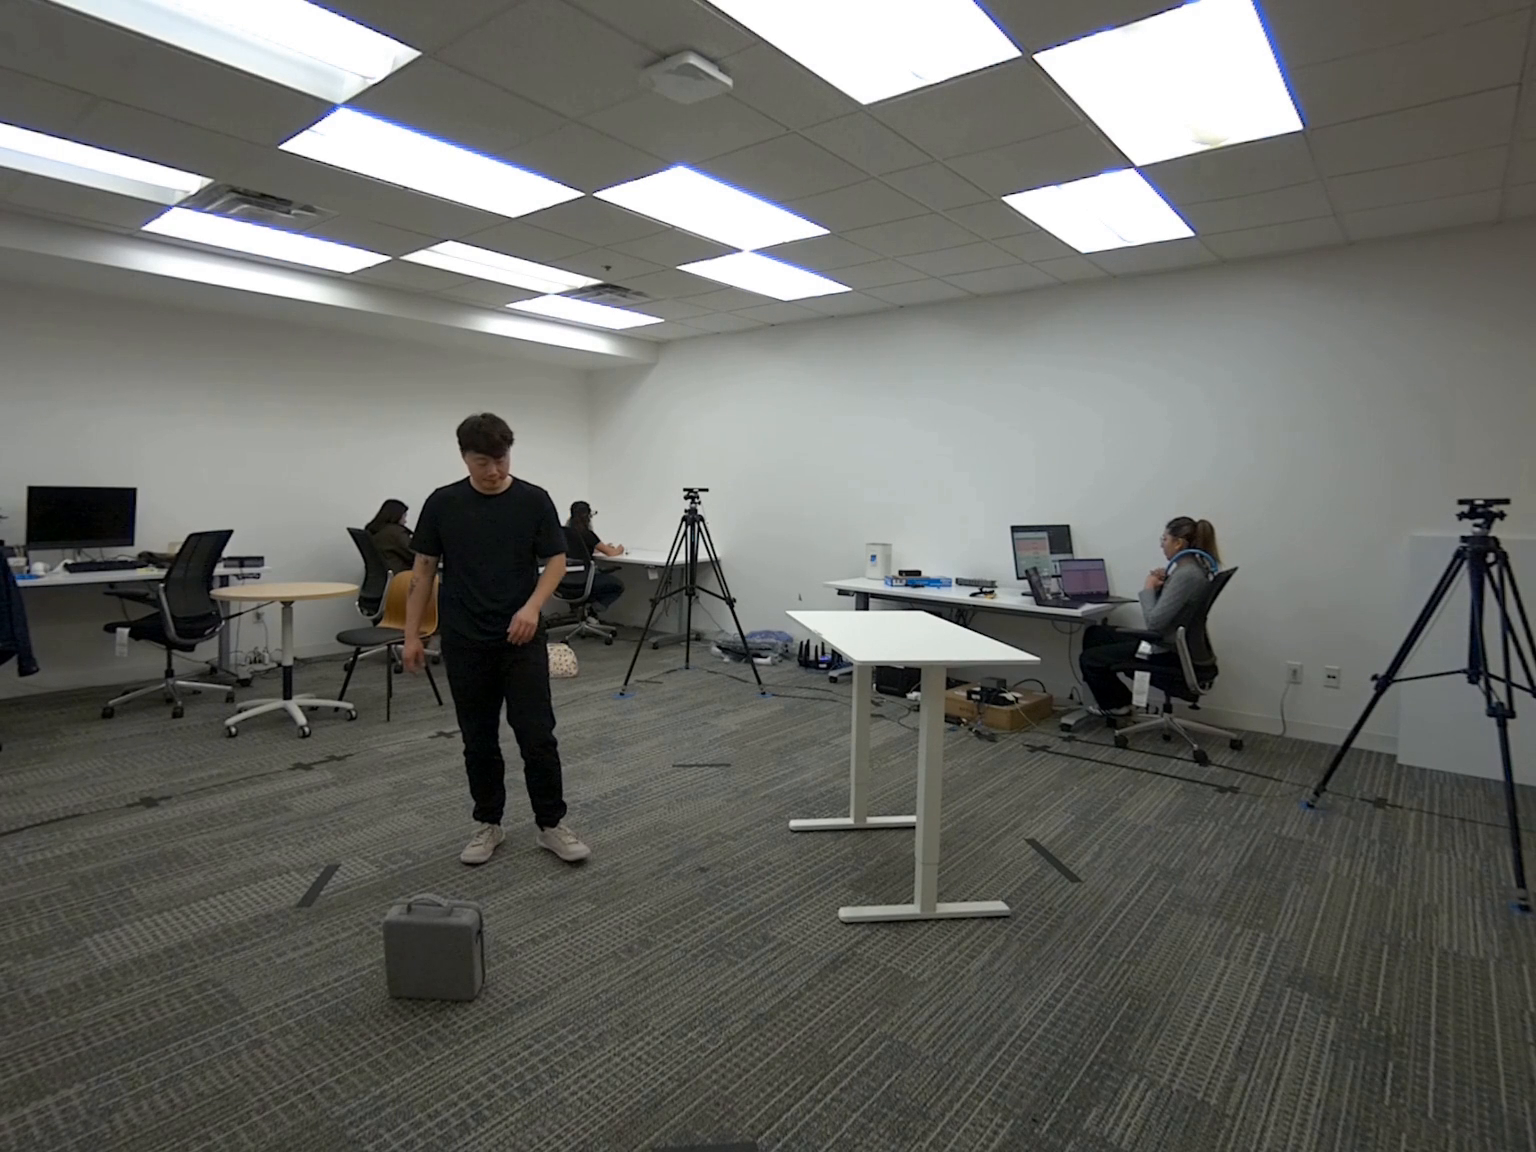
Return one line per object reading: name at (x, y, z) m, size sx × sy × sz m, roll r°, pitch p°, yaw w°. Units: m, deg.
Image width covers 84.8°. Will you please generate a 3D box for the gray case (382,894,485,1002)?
gray case at (-0.914, 1.005, 2.305) m, size 0.258 × 0.258 × 0.105 m, roll 1°, pitch 11°, yaw 3°
